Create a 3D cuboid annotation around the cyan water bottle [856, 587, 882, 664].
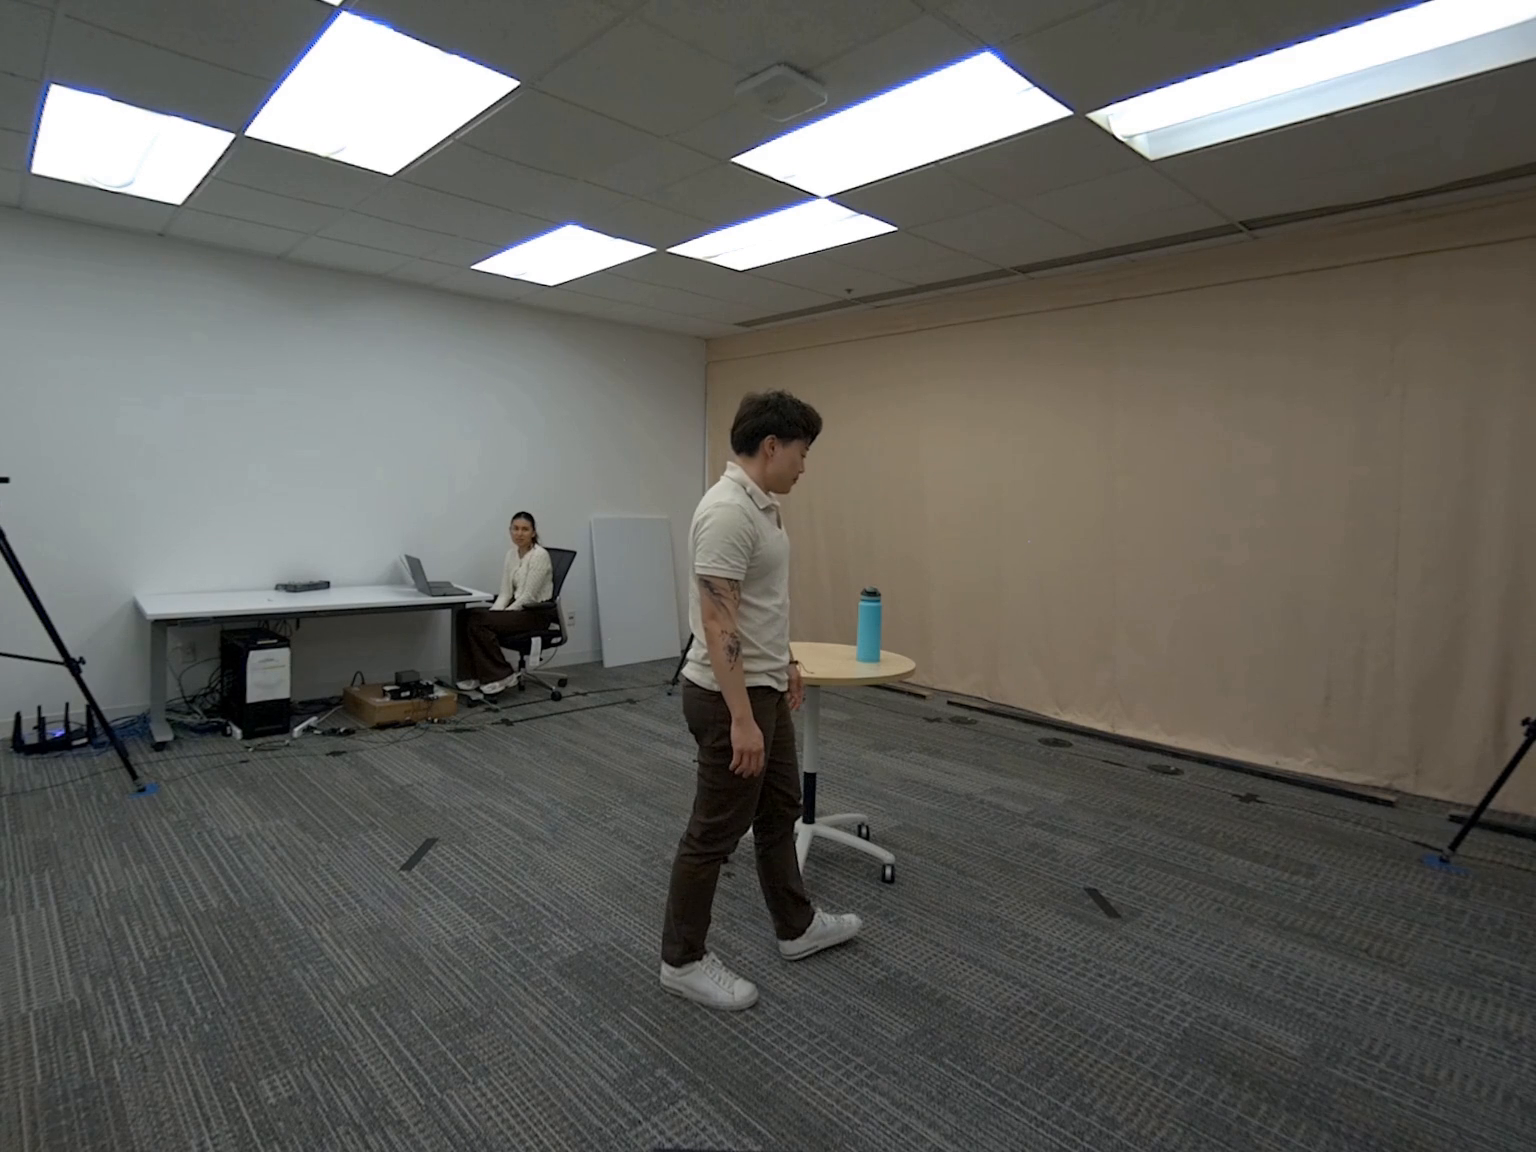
[{"bbox_3d":[0.384,0.184,3.219,0.092,0.283,0.092,1,2,-1],"label":"cyan water bottle"}]
